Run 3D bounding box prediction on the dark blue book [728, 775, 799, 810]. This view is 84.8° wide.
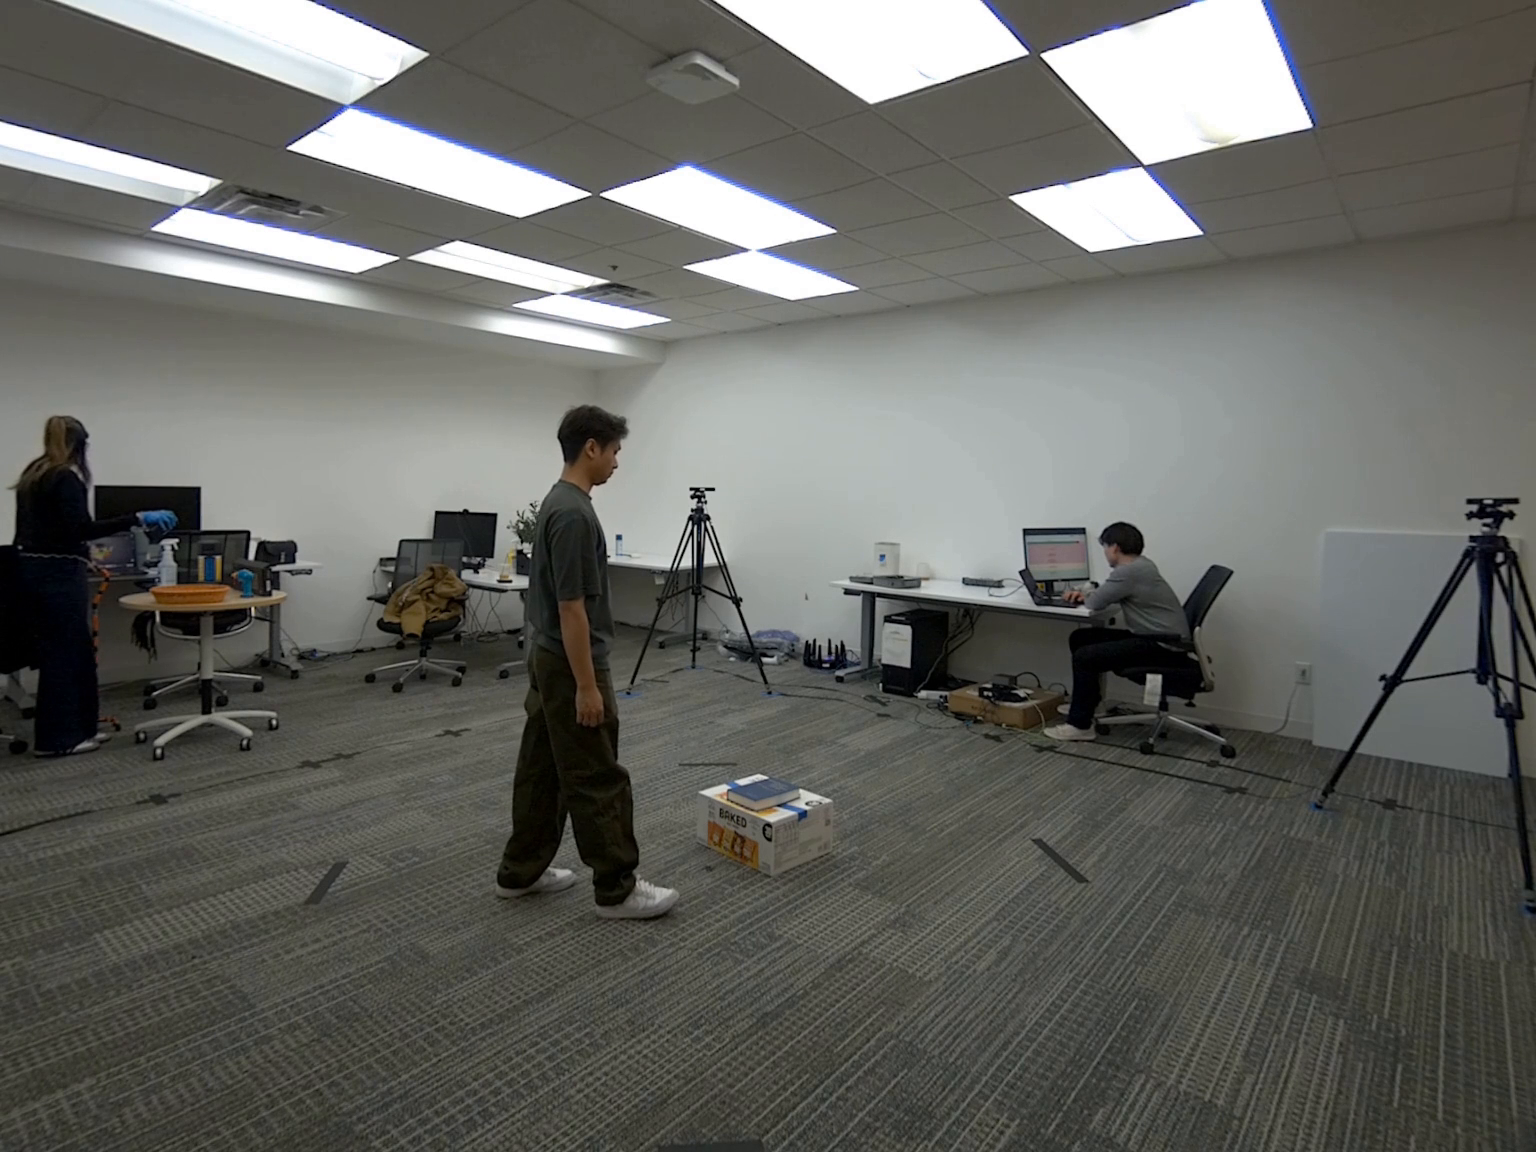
[{"bbox_3d":[-0.020,0.839,3.290,0.238,0.045,0.169,-4,7,-43],"label":"dark blue book"}]
